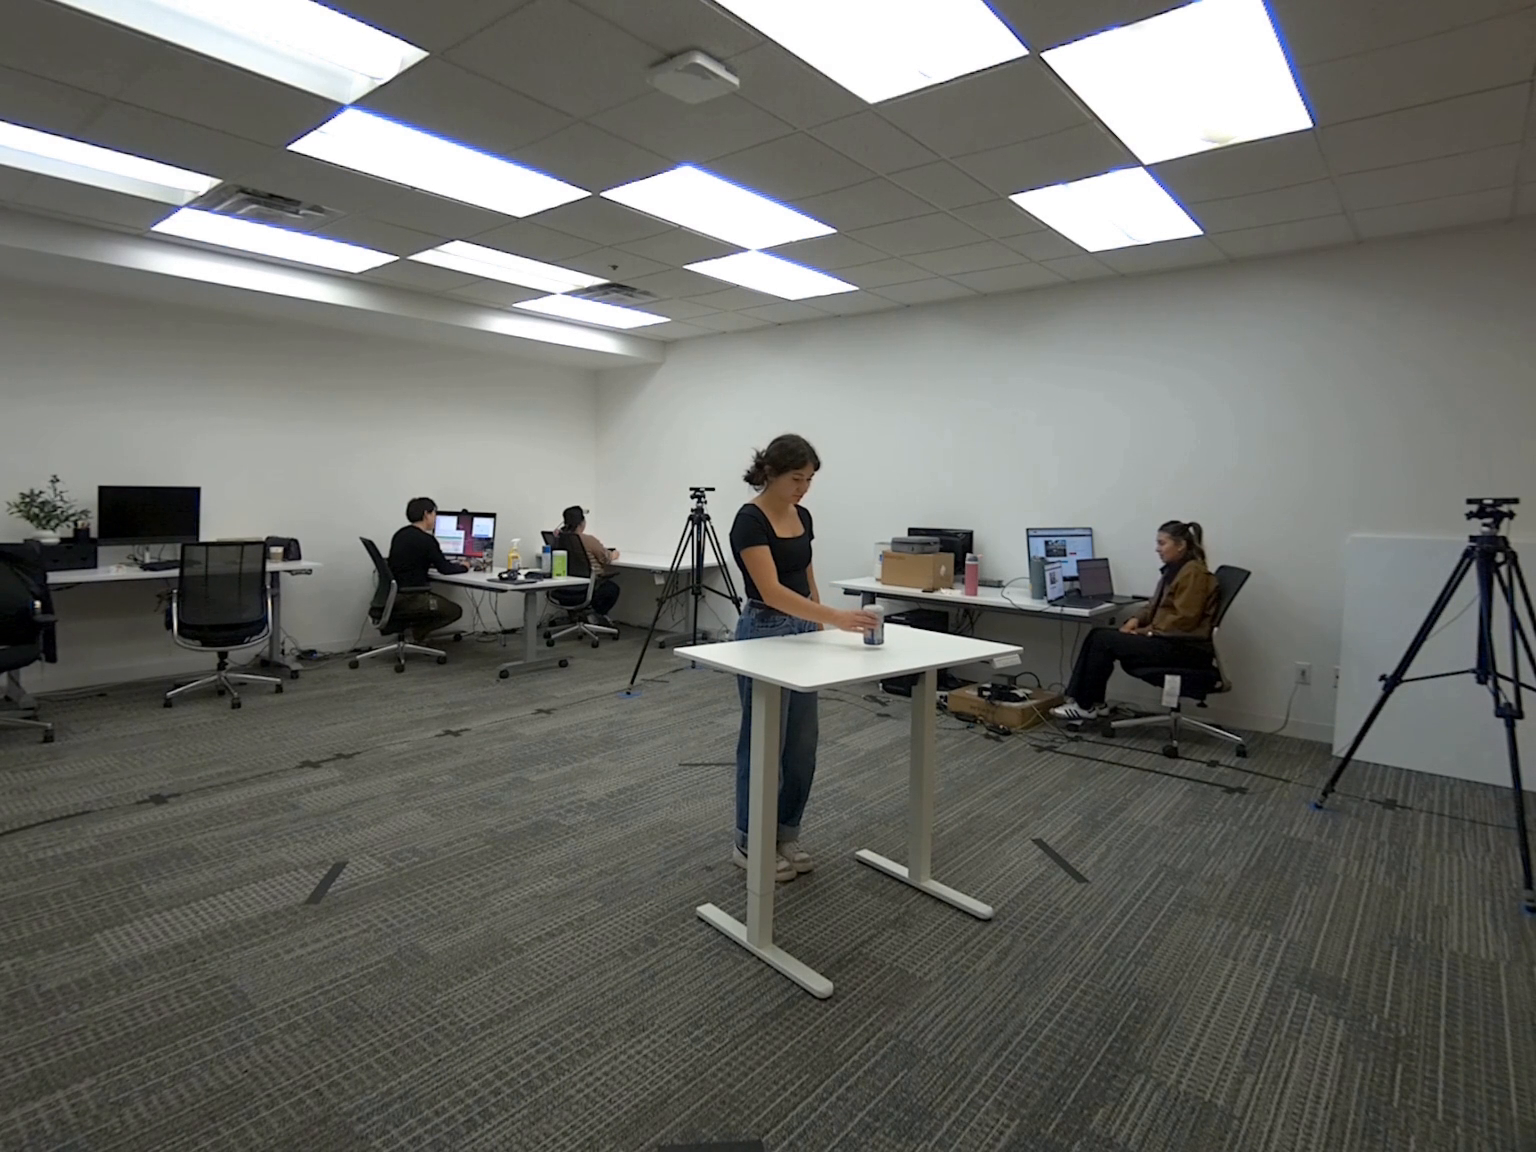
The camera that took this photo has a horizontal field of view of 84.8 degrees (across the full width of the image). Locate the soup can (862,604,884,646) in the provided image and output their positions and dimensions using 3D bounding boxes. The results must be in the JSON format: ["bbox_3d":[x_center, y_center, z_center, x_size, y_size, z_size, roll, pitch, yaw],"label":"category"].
[{"bbox_3d":[0.342,0.159,2.744,0.067,0.121,0.067,-2,6,-2],"label":"soup can"}]
